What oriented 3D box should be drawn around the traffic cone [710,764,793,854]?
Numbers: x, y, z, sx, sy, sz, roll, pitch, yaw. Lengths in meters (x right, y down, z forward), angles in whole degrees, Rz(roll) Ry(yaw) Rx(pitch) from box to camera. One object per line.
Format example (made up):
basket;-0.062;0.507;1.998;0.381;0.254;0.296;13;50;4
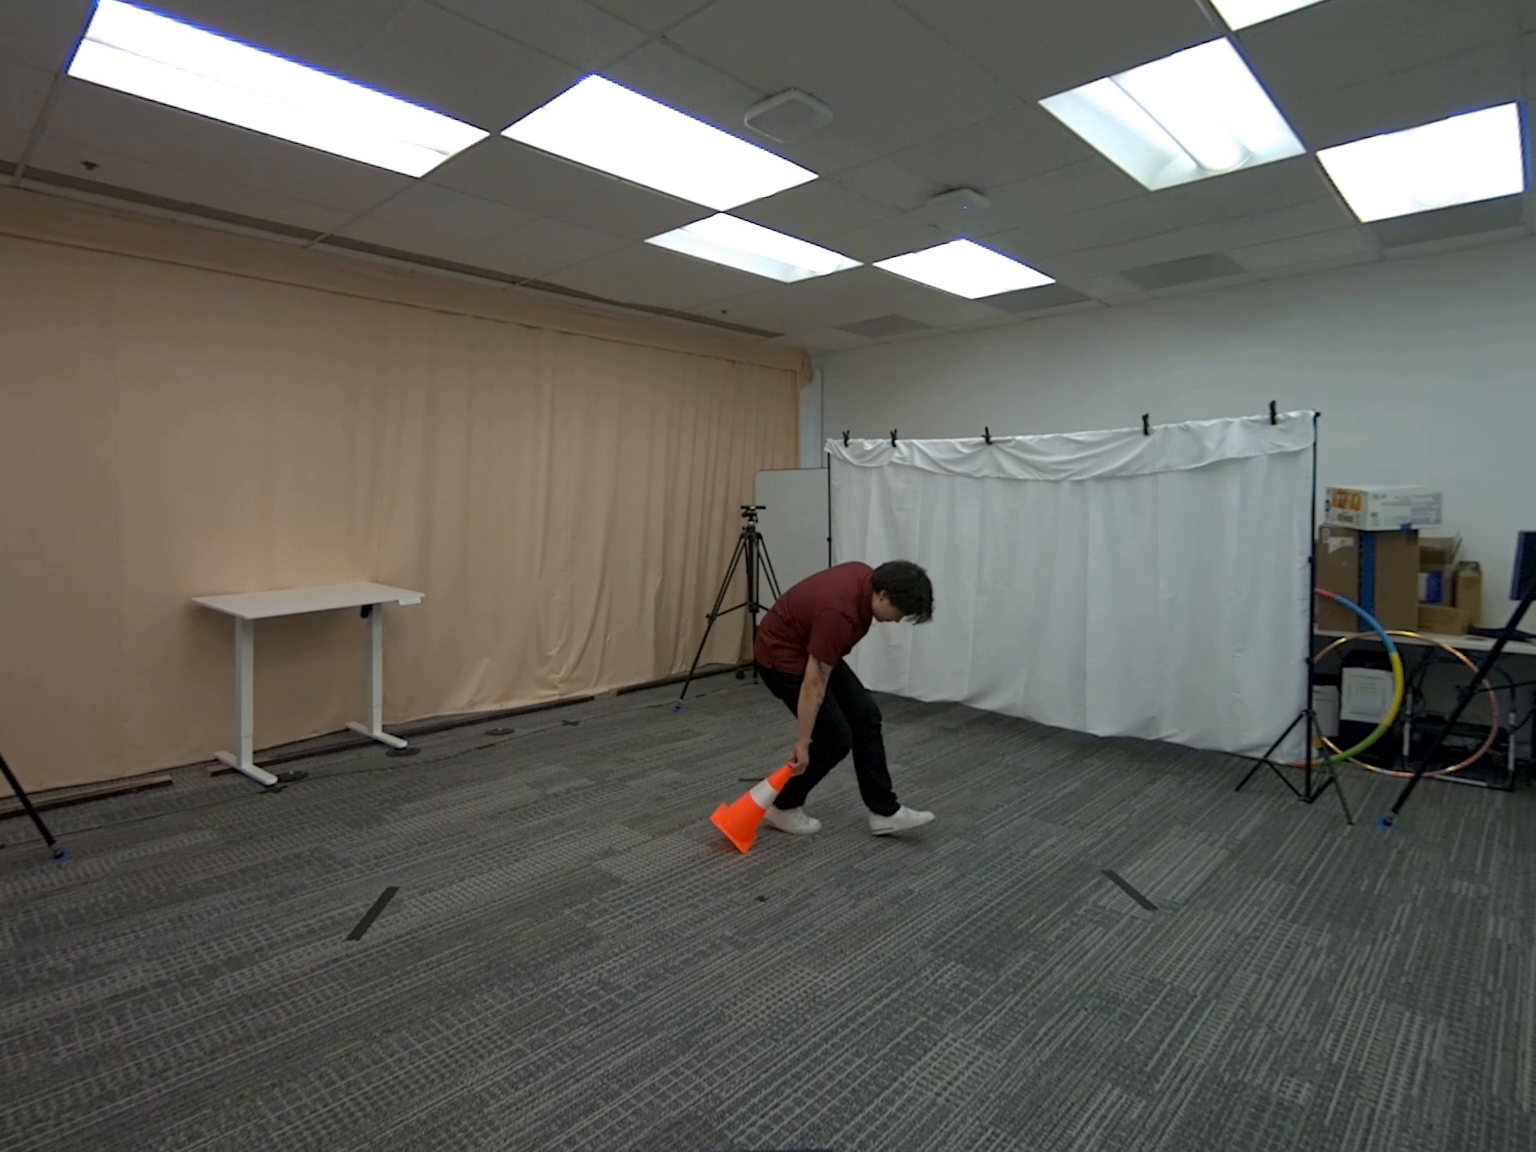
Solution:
traffic cone;-0.021;0.904;3.435;0.206;0.384;0.201;45;9;11
